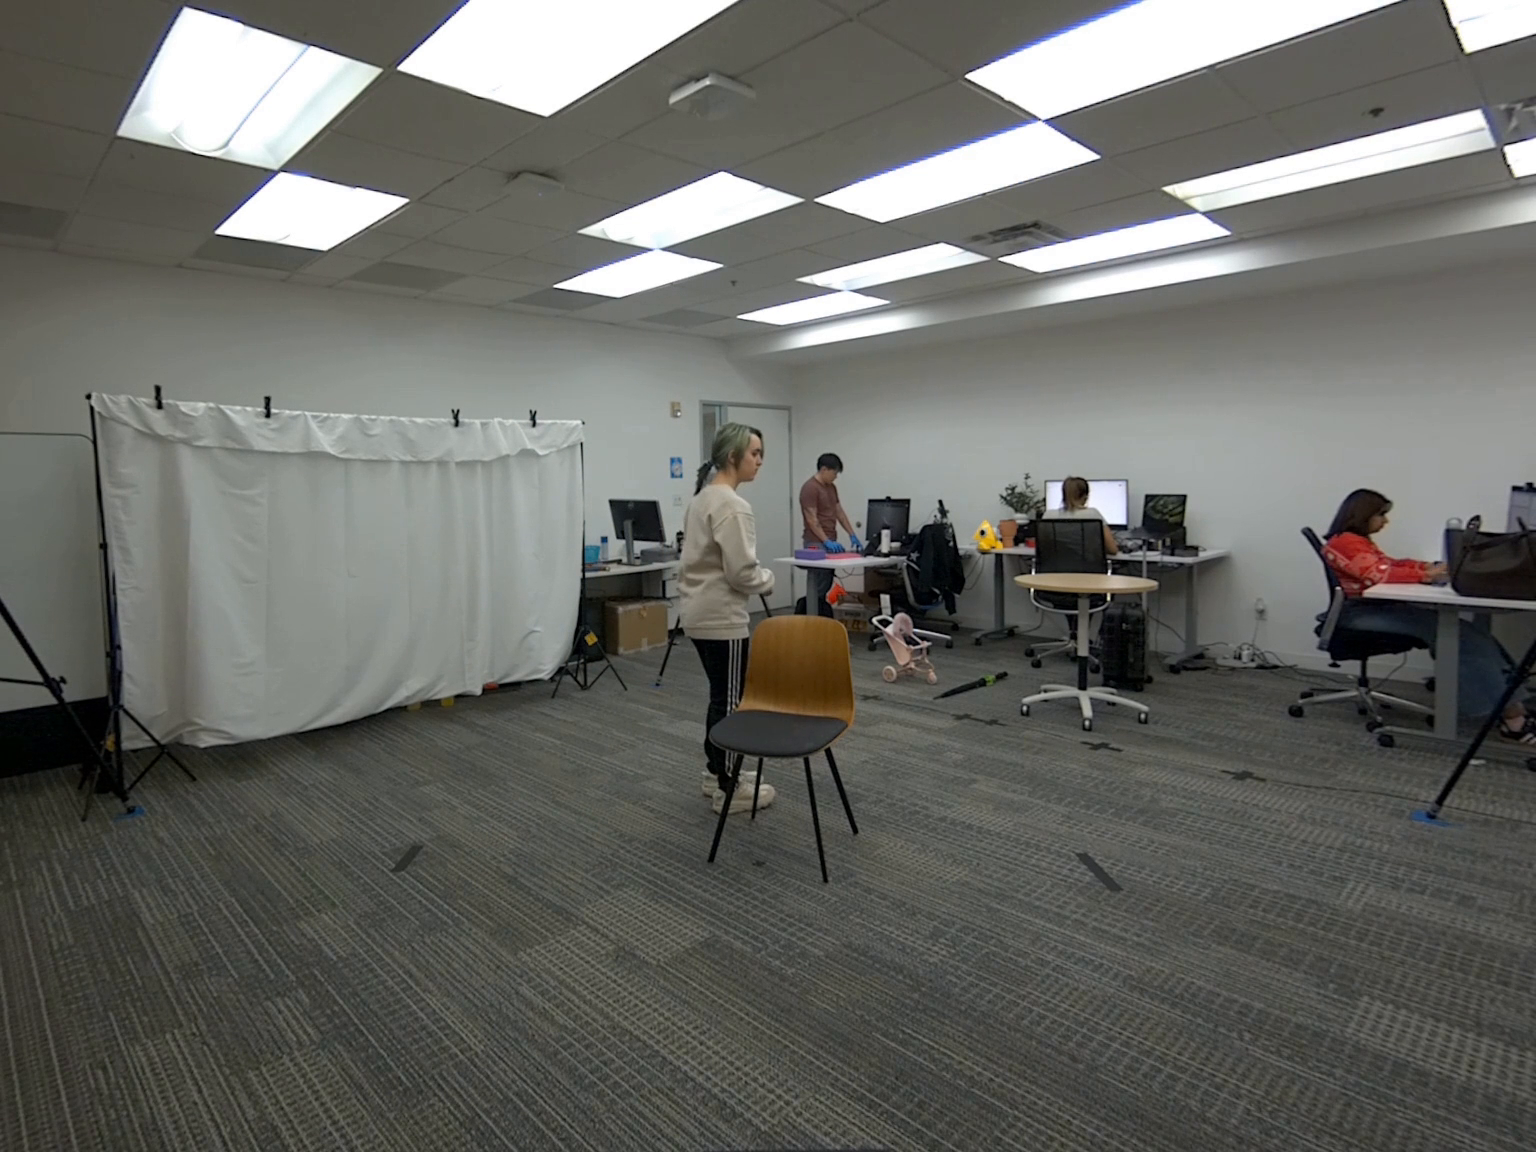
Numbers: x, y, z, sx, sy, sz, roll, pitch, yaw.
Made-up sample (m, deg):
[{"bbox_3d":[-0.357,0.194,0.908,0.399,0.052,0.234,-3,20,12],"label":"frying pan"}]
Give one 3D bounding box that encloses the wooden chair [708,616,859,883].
[{"bbox_3d":[0.062,0.607,3.197,0.488,0.877,0.512,0,0,22],"label":"wooden chair"}]
